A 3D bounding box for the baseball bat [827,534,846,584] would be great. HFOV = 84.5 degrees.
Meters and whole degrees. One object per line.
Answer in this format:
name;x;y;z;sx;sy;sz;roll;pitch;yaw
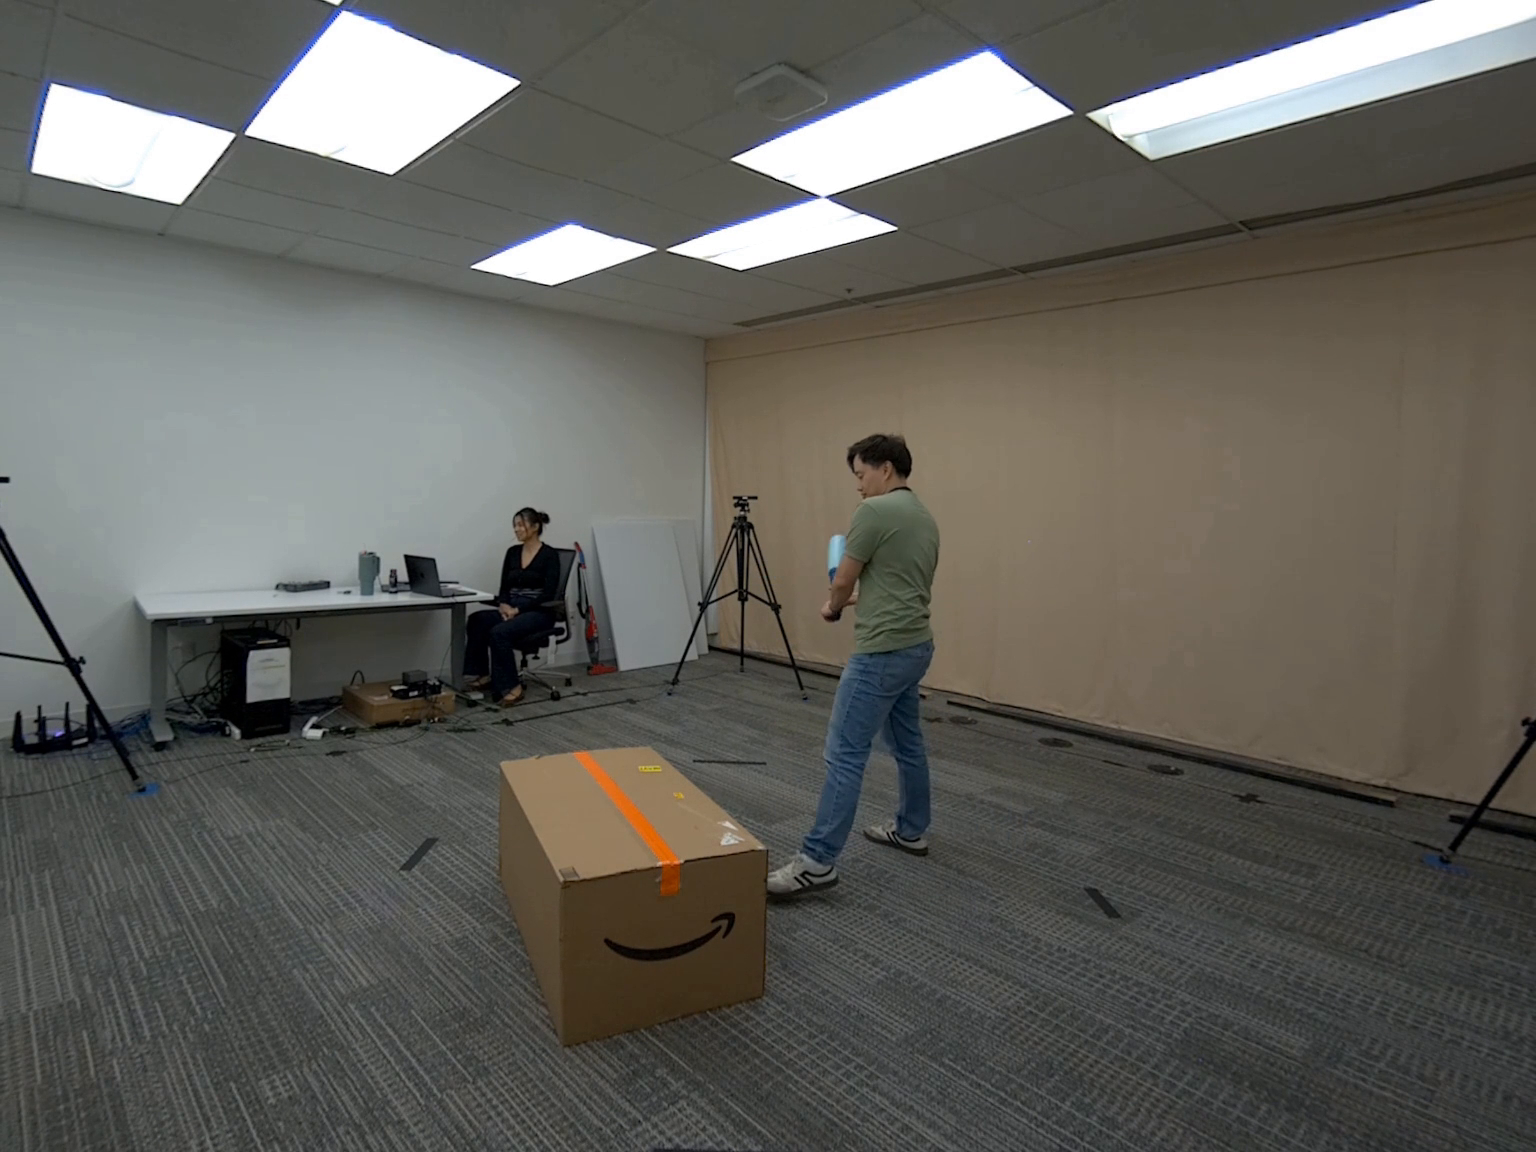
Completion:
baseball bat;0.281;-0.003;3.604;0.089;0.087;0.552;1;37;6
